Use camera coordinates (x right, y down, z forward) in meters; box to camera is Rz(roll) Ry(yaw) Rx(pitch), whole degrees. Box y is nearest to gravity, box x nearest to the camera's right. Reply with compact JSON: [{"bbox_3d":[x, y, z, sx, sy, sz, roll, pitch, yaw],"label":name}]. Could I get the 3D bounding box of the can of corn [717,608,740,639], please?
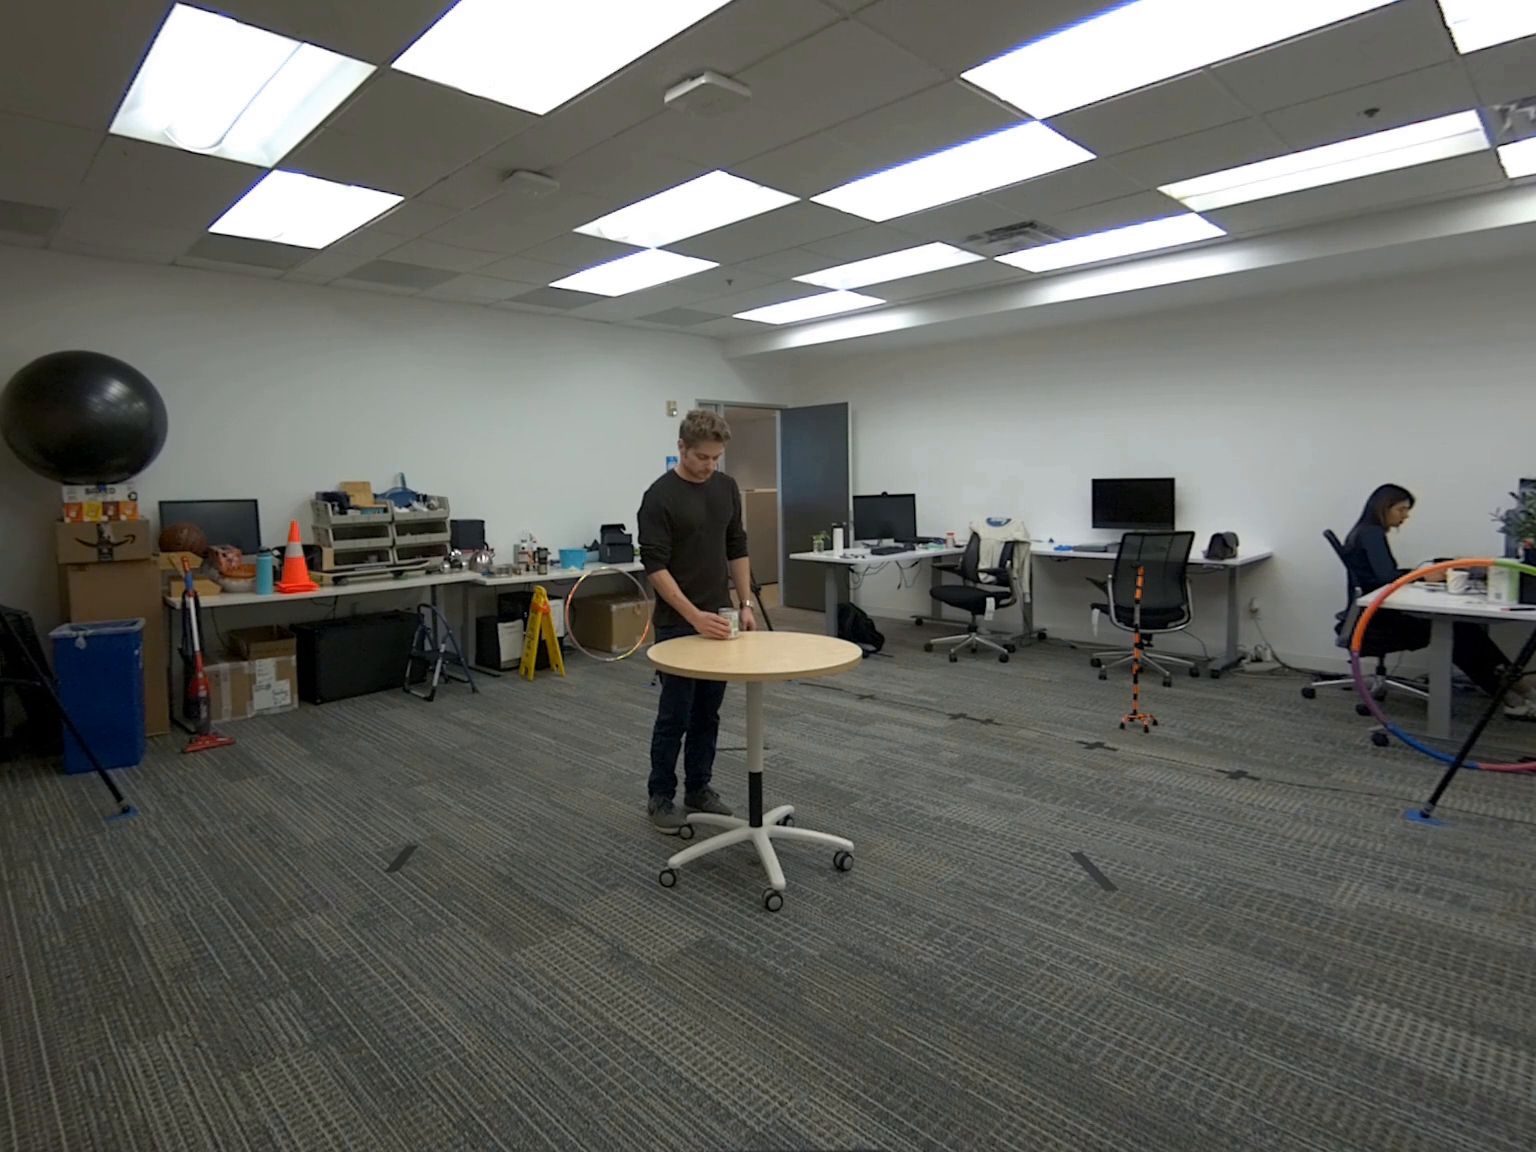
[{"bbox_3d":[-0.159,0.185,3.289,0.074,0.110,0.074,-1,4,-2],"label":"can of corn"}]
